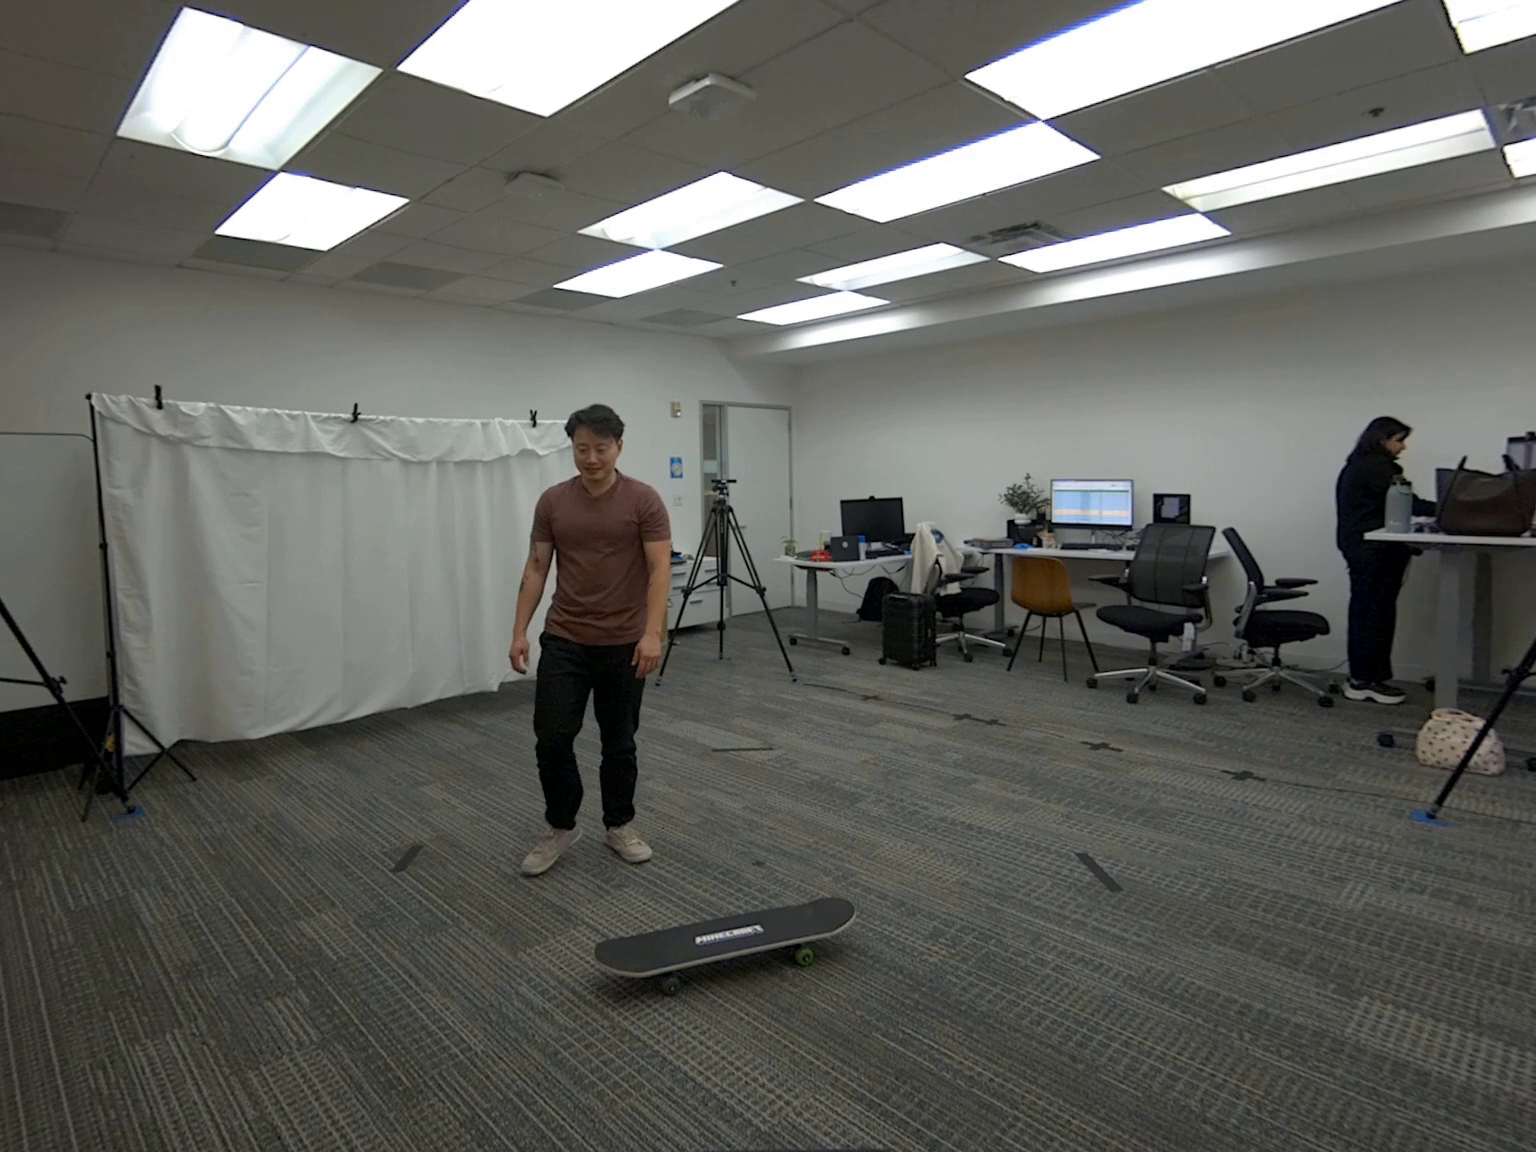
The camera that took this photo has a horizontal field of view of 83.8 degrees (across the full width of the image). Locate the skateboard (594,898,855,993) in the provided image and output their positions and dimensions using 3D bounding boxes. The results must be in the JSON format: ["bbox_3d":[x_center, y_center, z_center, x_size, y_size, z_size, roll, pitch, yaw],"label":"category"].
[{"bbox_3d":[-0.107,1.066,2.468,0.773,0.110,0.197,-3,6,-18],"label":"skateboard"}]
